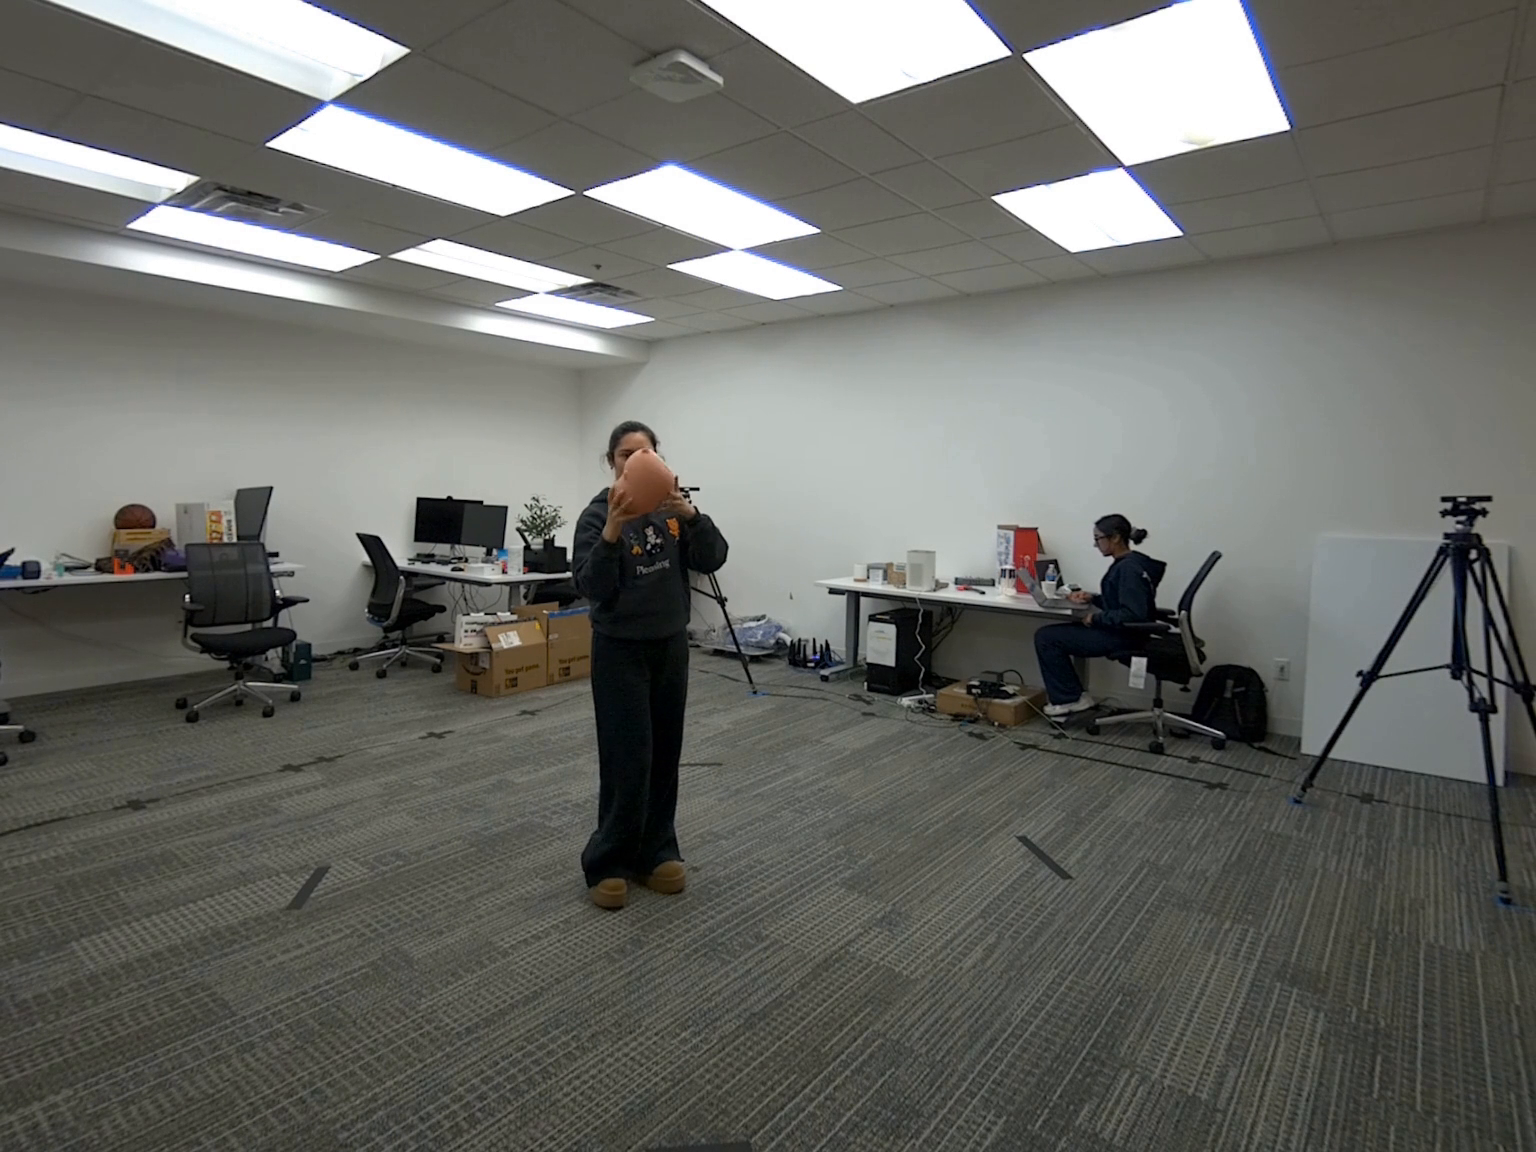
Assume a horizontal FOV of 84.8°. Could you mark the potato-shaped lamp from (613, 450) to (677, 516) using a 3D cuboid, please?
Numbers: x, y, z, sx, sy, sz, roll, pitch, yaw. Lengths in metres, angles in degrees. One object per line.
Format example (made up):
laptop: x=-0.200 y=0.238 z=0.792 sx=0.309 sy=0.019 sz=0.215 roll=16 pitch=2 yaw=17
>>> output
potato-shaped lamp: x=-0.394 y=-0.284 z=2.643 sx=0.170 sy=0.198 sz=0.166 roll=35 pitch=1 yaw=-5
